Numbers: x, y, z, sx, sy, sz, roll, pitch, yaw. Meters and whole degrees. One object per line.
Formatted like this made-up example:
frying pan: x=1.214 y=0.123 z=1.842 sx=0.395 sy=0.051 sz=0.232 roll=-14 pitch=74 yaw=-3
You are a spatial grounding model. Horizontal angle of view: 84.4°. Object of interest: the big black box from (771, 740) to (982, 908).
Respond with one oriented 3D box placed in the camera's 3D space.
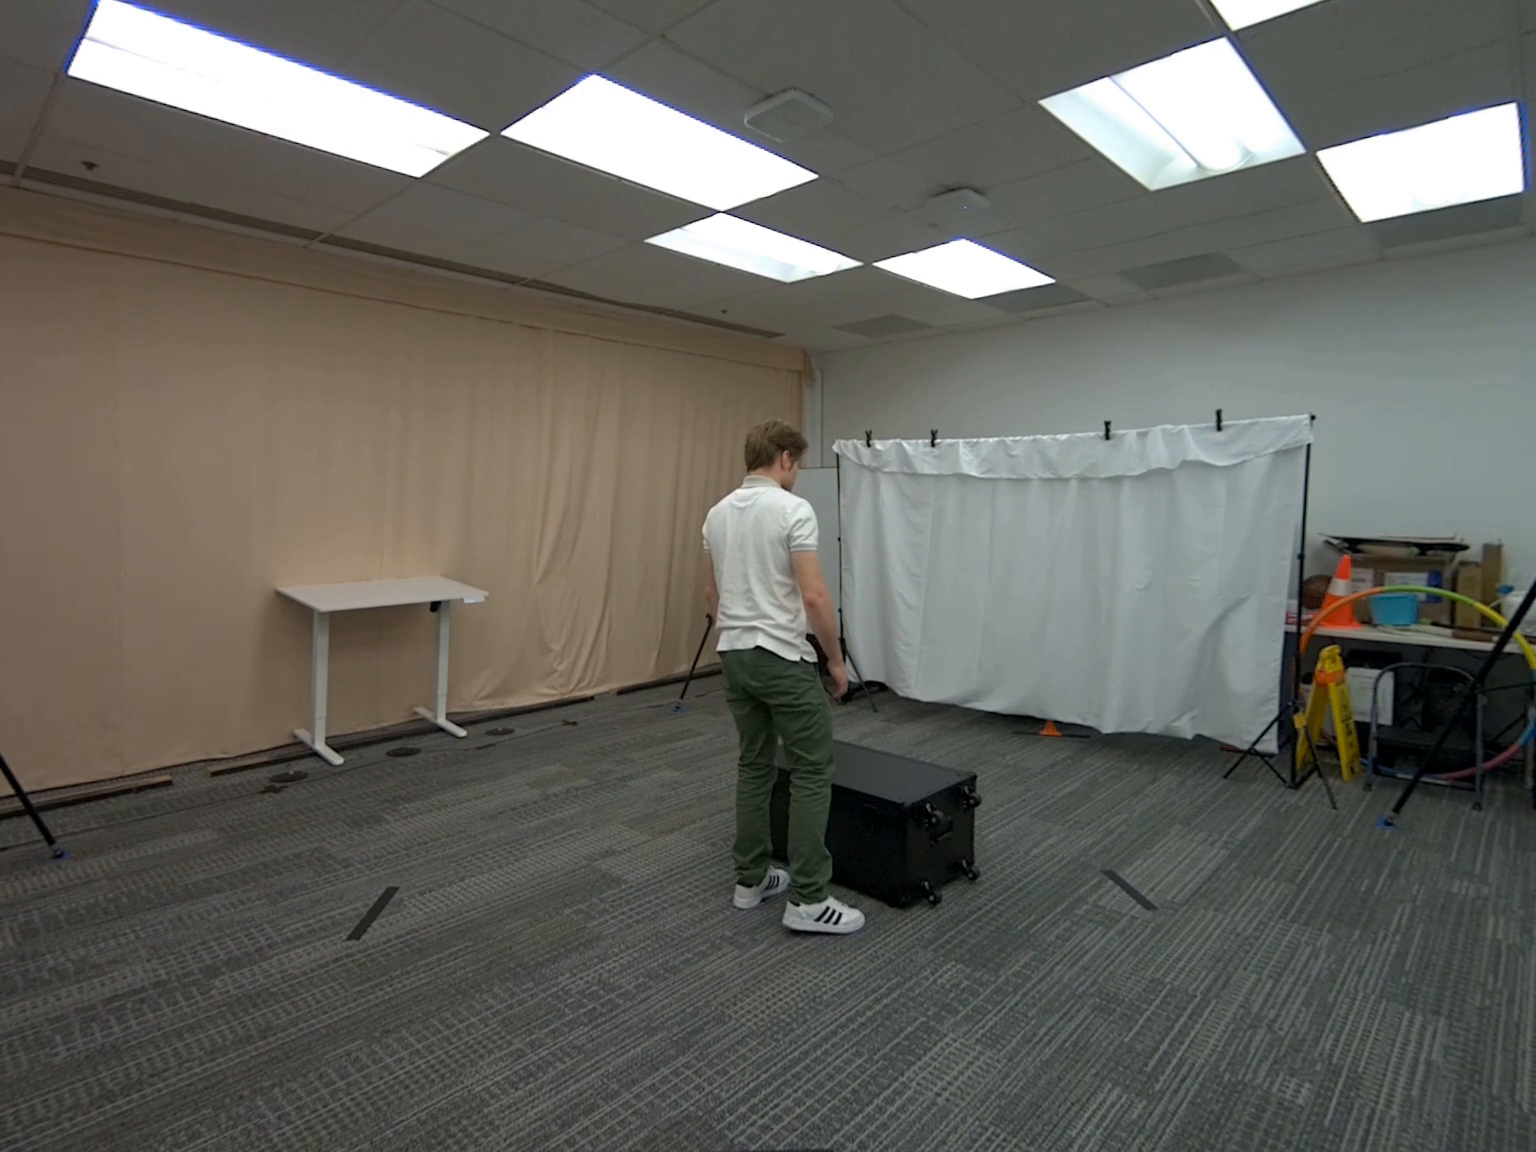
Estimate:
big black box: x=0.363 y=0.923 z=3.274 sx=0.898 sy=0.384 sz=0.507 roll=5 pitch=5 yaw=43
